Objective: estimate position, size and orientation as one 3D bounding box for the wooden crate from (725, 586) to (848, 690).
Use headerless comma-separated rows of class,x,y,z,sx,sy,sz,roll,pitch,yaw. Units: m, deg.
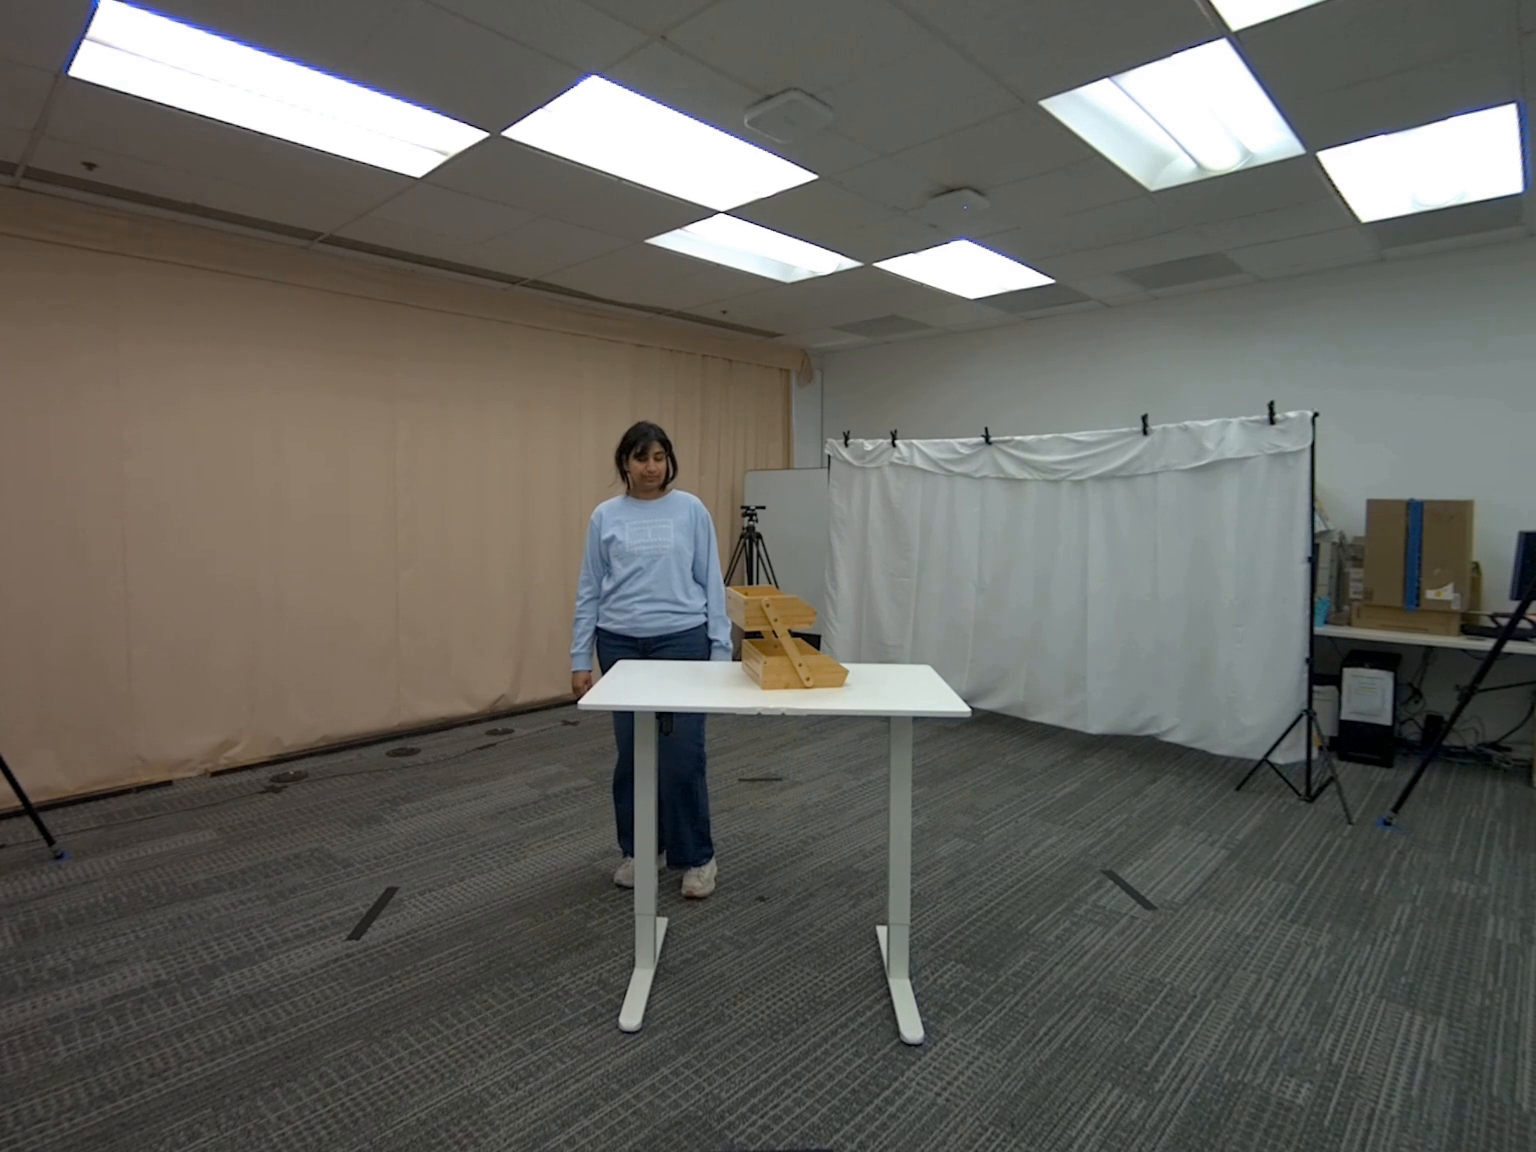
wooden crate,0.055,0.170,2.483,0.299,0.272,0.329,-2,5,-11
